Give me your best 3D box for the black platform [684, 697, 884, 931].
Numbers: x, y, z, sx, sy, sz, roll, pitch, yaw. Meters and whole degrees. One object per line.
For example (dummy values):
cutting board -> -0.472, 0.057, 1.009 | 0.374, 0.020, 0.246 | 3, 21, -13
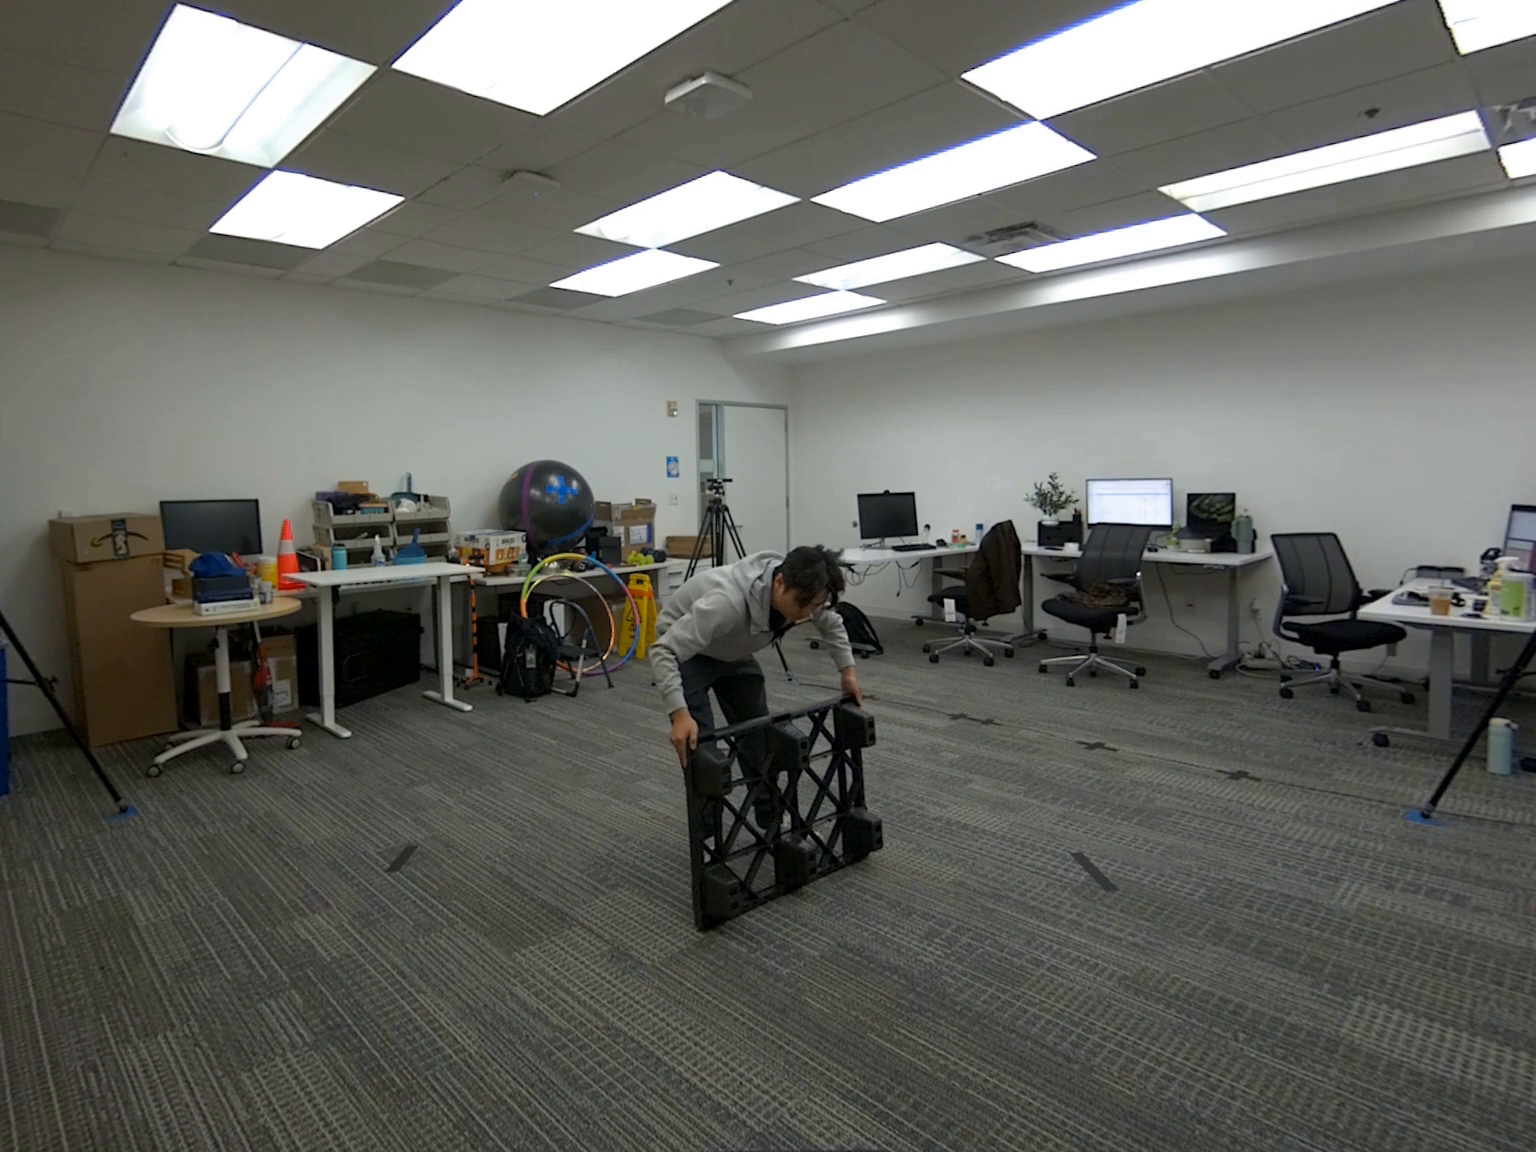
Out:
black platform -> 0.091, 0.759, 2.865 | 0.784, 0.605, 0.147 | -5, 0, -42
